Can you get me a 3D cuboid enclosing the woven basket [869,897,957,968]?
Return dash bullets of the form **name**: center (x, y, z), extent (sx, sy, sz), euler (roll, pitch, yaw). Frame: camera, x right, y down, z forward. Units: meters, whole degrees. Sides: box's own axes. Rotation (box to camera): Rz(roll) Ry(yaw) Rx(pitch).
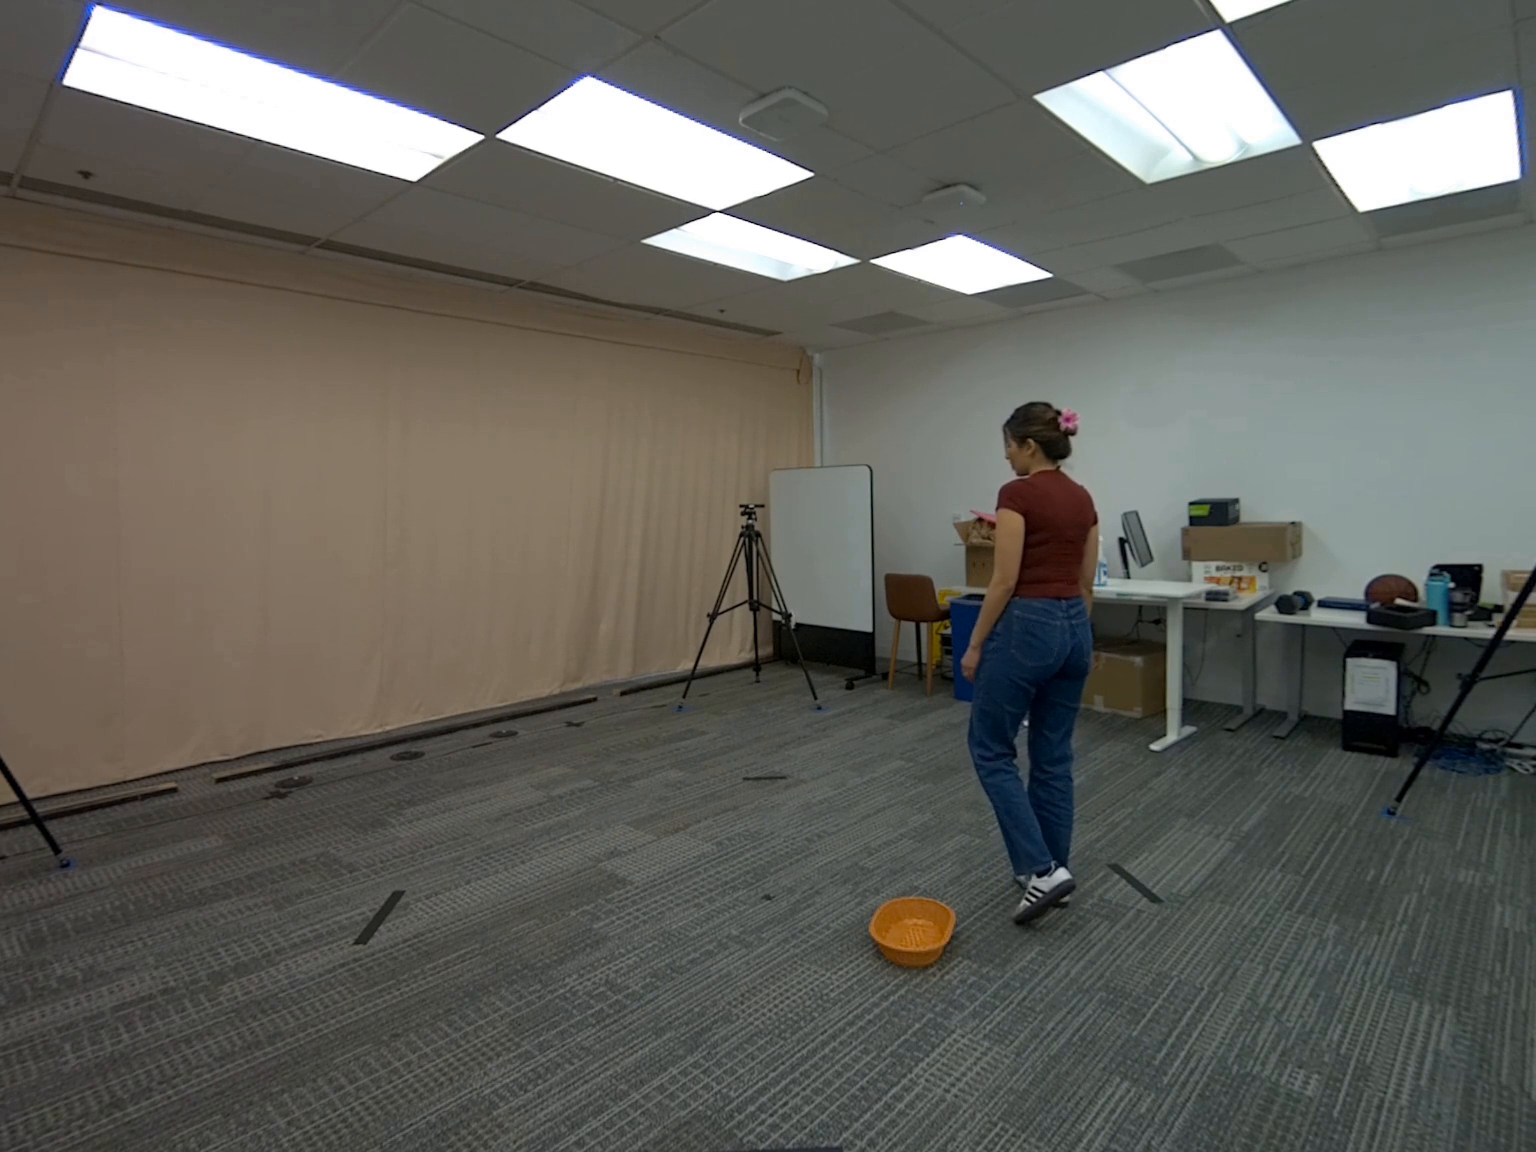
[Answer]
- **woven basket**: center (0.458, 1.119, 2.654), extent (0.259, 0.073, 0.342), euler (-1, 5, 25)
